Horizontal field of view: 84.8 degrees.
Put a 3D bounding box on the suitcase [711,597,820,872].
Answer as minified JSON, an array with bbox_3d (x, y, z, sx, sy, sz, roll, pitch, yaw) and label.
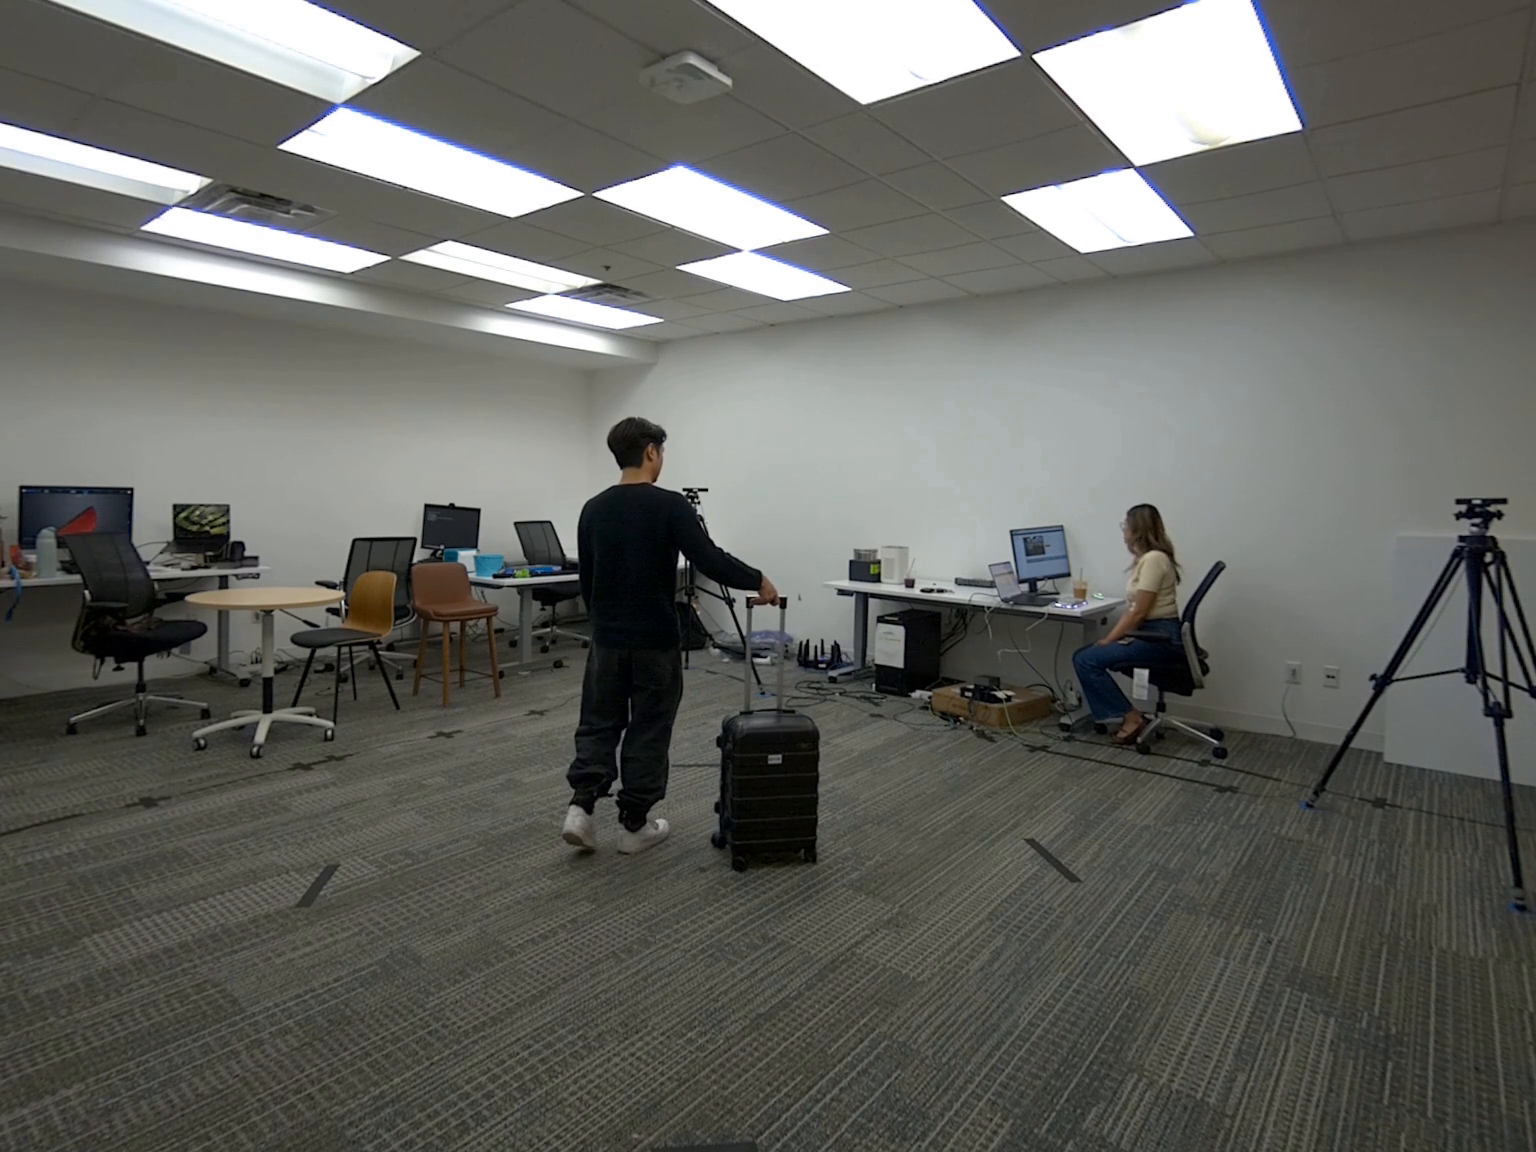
[{"bbox_3d":[0.002,0.588,3.213,0.379,0.974,0.261,1,5,-12],"label":"suitcase"}]
